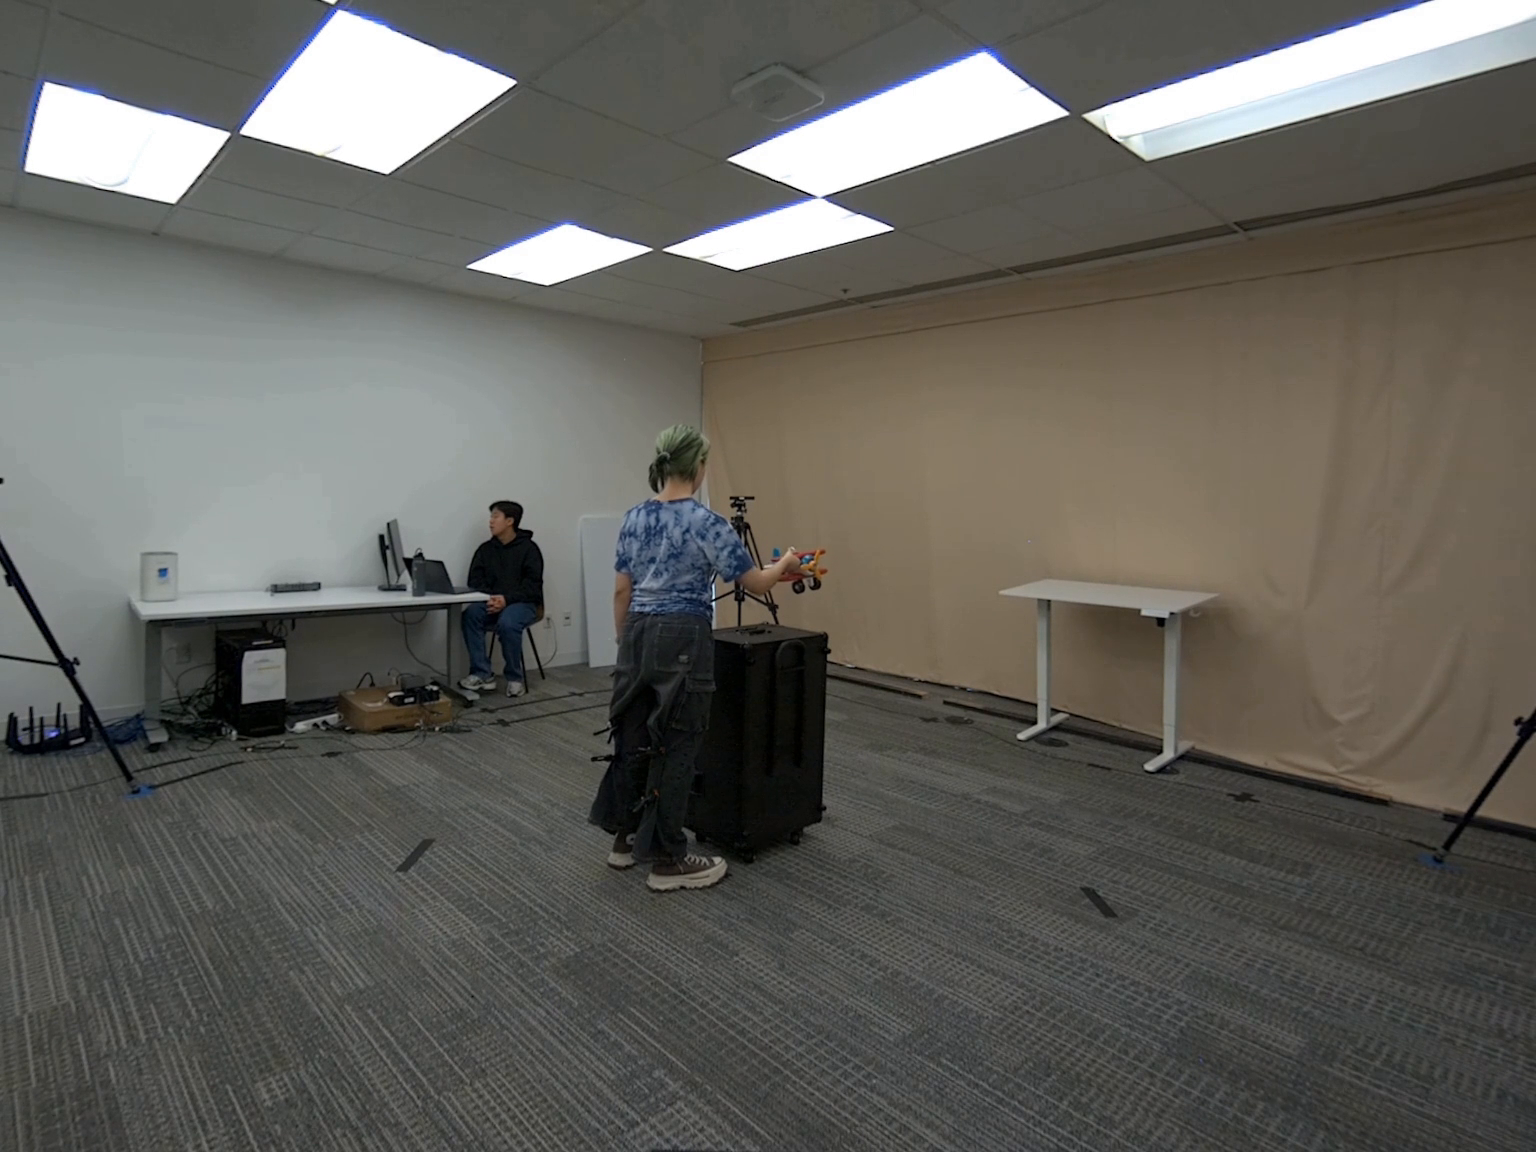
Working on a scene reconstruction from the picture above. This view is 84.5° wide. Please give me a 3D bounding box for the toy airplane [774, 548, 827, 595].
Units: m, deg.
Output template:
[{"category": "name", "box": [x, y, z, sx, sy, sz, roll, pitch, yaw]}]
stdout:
[{"category": "toy airplane", "box": [0.081, -0.029, 3.395, 0.264, 0.154, 0.249, 11, 19, 22]}]
